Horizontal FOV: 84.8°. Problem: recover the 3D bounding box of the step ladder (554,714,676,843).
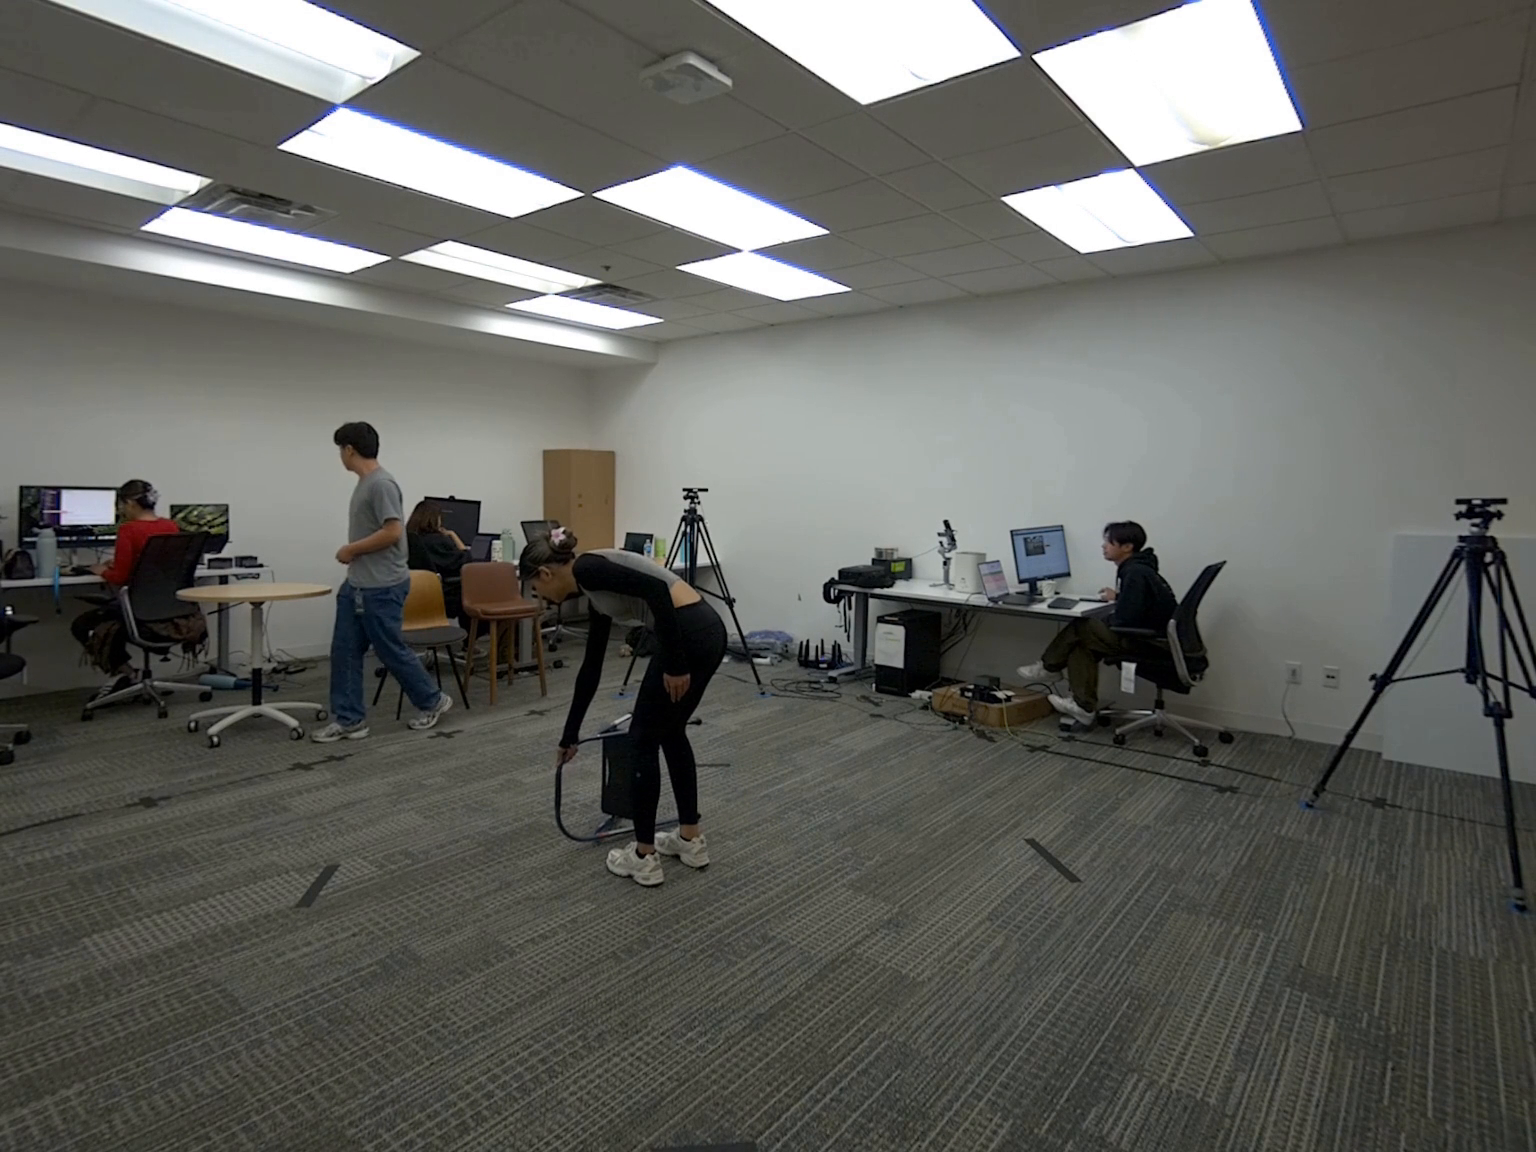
[{"bbox_3d":[-0.595,0.814,3.422,0.359,0.430,0.589,1,3,31],"label":"step ladder"}]
